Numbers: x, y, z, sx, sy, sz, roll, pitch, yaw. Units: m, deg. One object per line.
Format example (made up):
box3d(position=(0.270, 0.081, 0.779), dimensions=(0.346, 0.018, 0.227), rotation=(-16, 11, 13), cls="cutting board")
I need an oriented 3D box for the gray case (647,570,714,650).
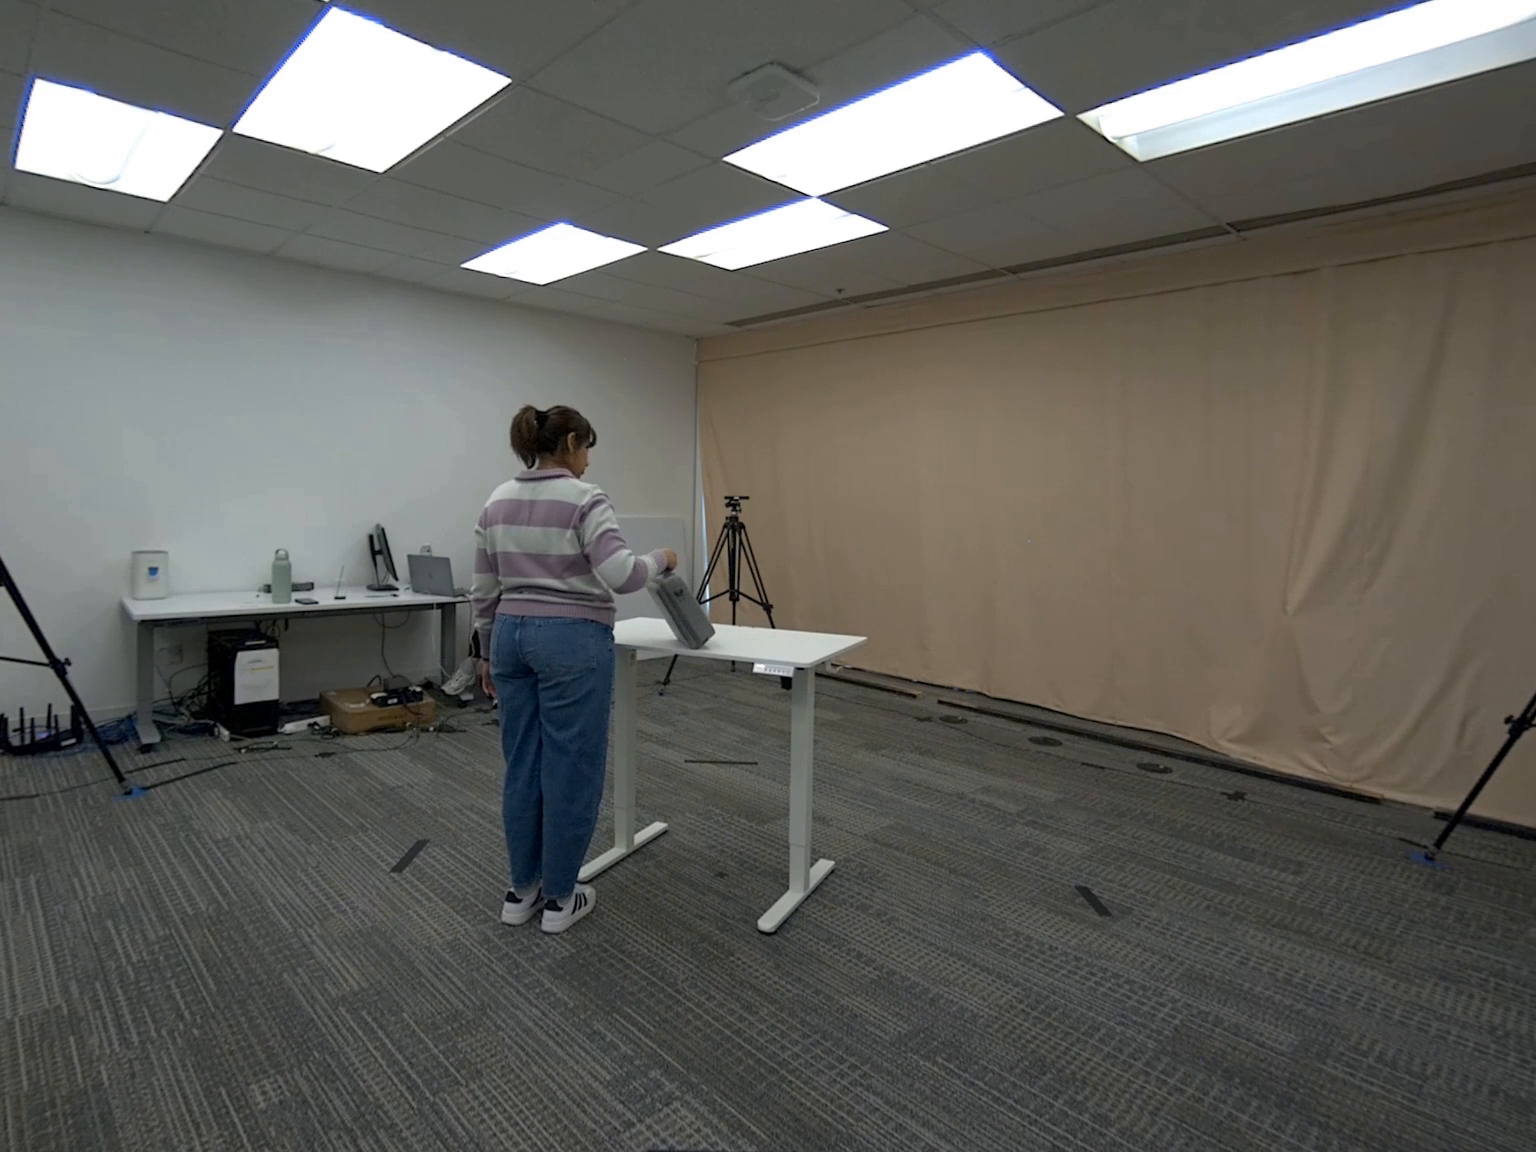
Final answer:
box3d(position=(-0.308, 0.106, 2.885), dimensions=(0.104, 0.258, 0.261), rotation=(-29, 12, -11), cls="gray case")
